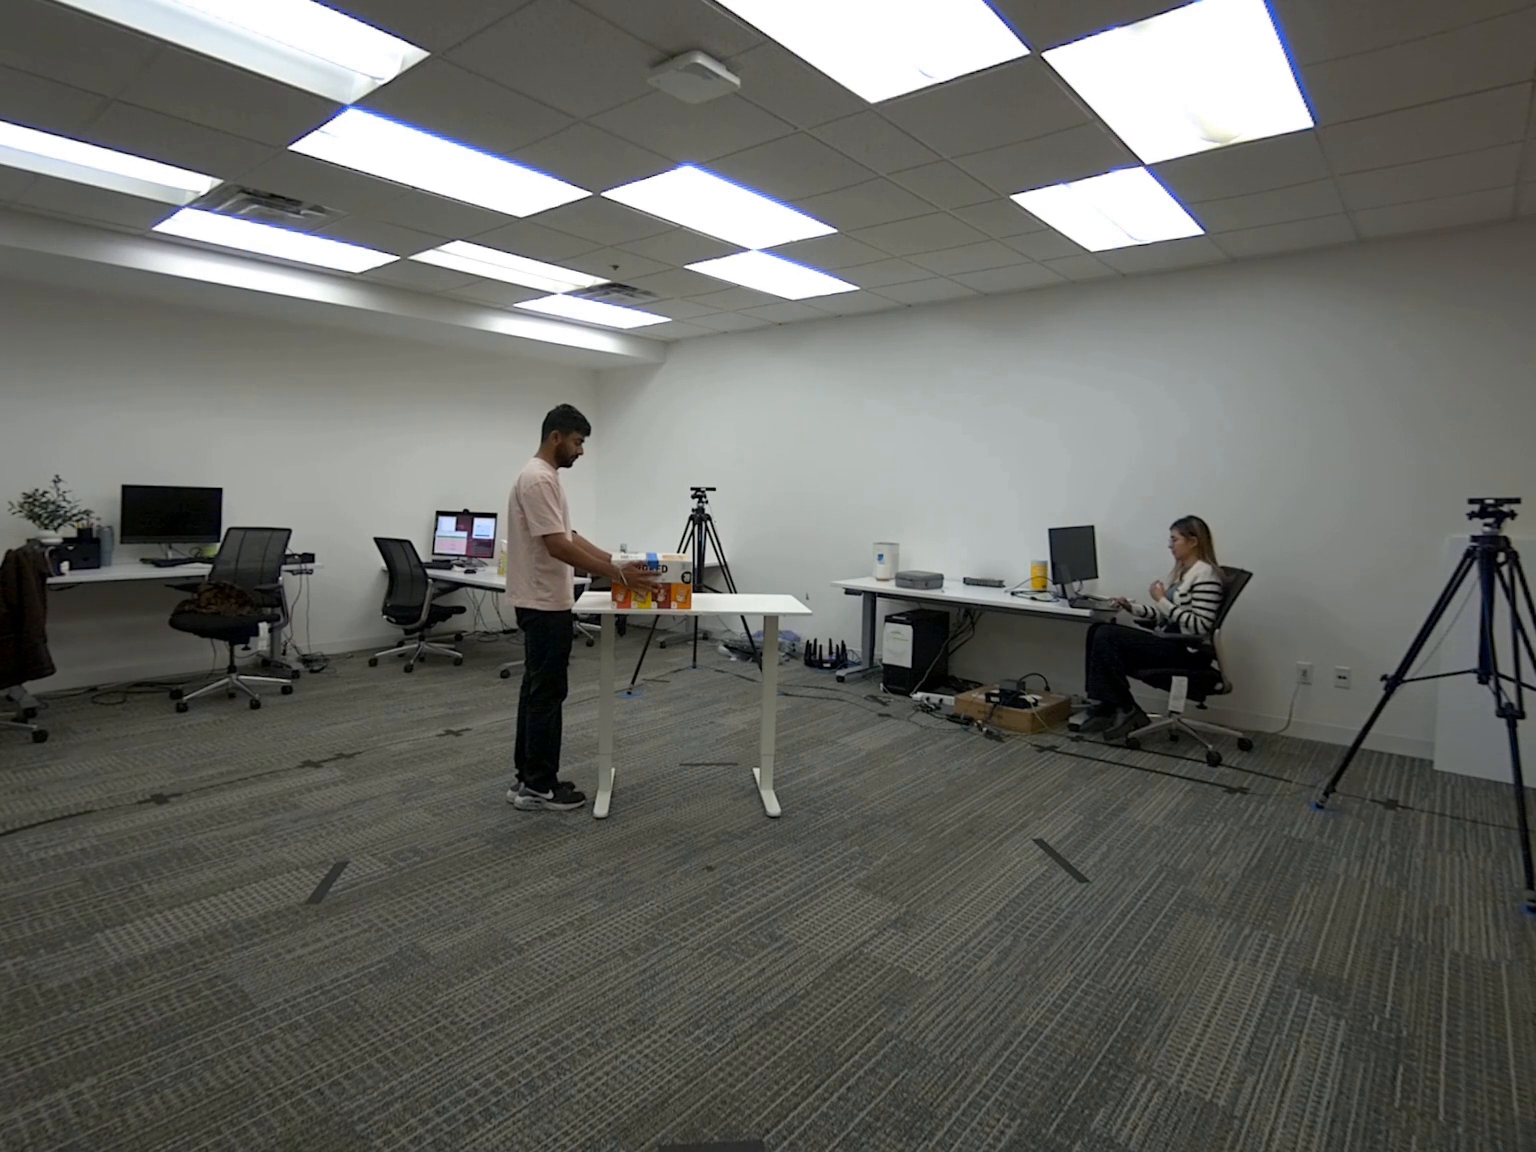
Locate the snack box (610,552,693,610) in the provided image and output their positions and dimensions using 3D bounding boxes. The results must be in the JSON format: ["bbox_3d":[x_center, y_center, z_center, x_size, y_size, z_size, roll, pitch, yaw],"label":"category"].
[{"bbox_3d":[-0.530,0.014,3.751,0.338,0.205,0.410,0,5,-8],"label":"snack box"}]
